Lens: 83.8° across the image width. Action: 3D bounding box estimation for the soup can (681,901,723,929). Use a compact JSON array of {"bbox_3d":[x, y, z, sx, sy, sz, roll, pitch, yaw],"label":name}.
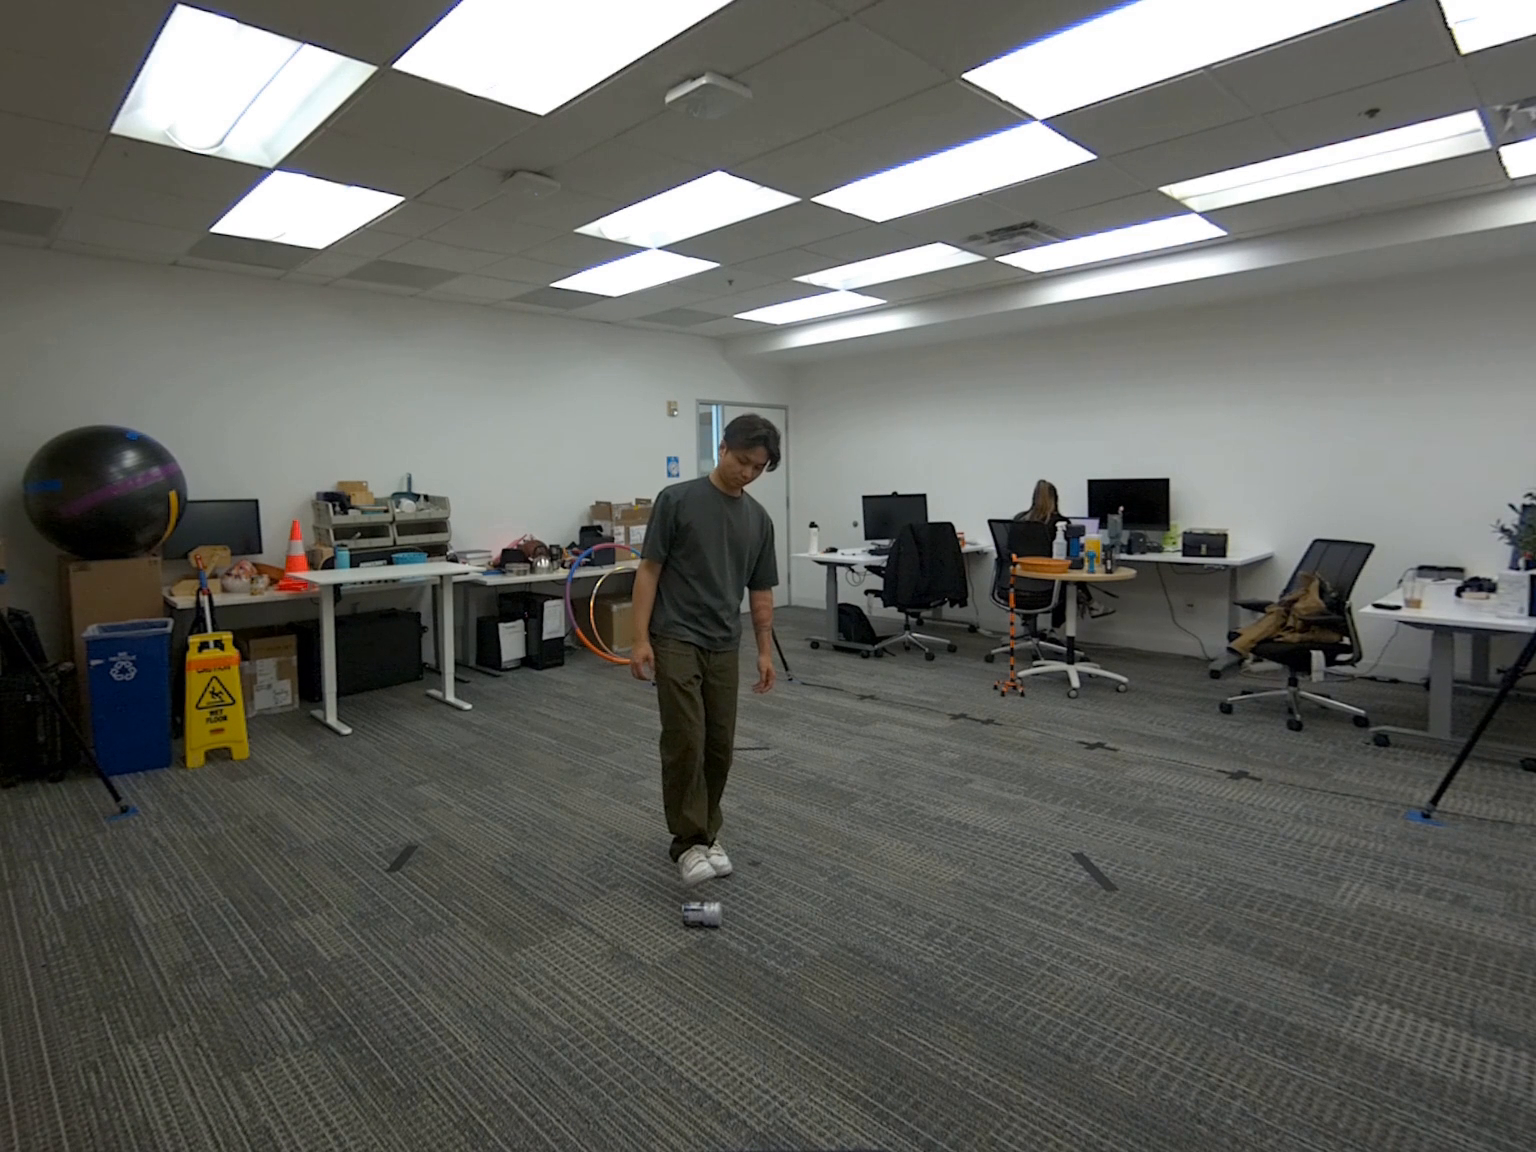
[{"bbox_3d":[-0.216,1.058,2.683,0.122,0.067,0.067,-7,4,4],"label":"soup can"}]
